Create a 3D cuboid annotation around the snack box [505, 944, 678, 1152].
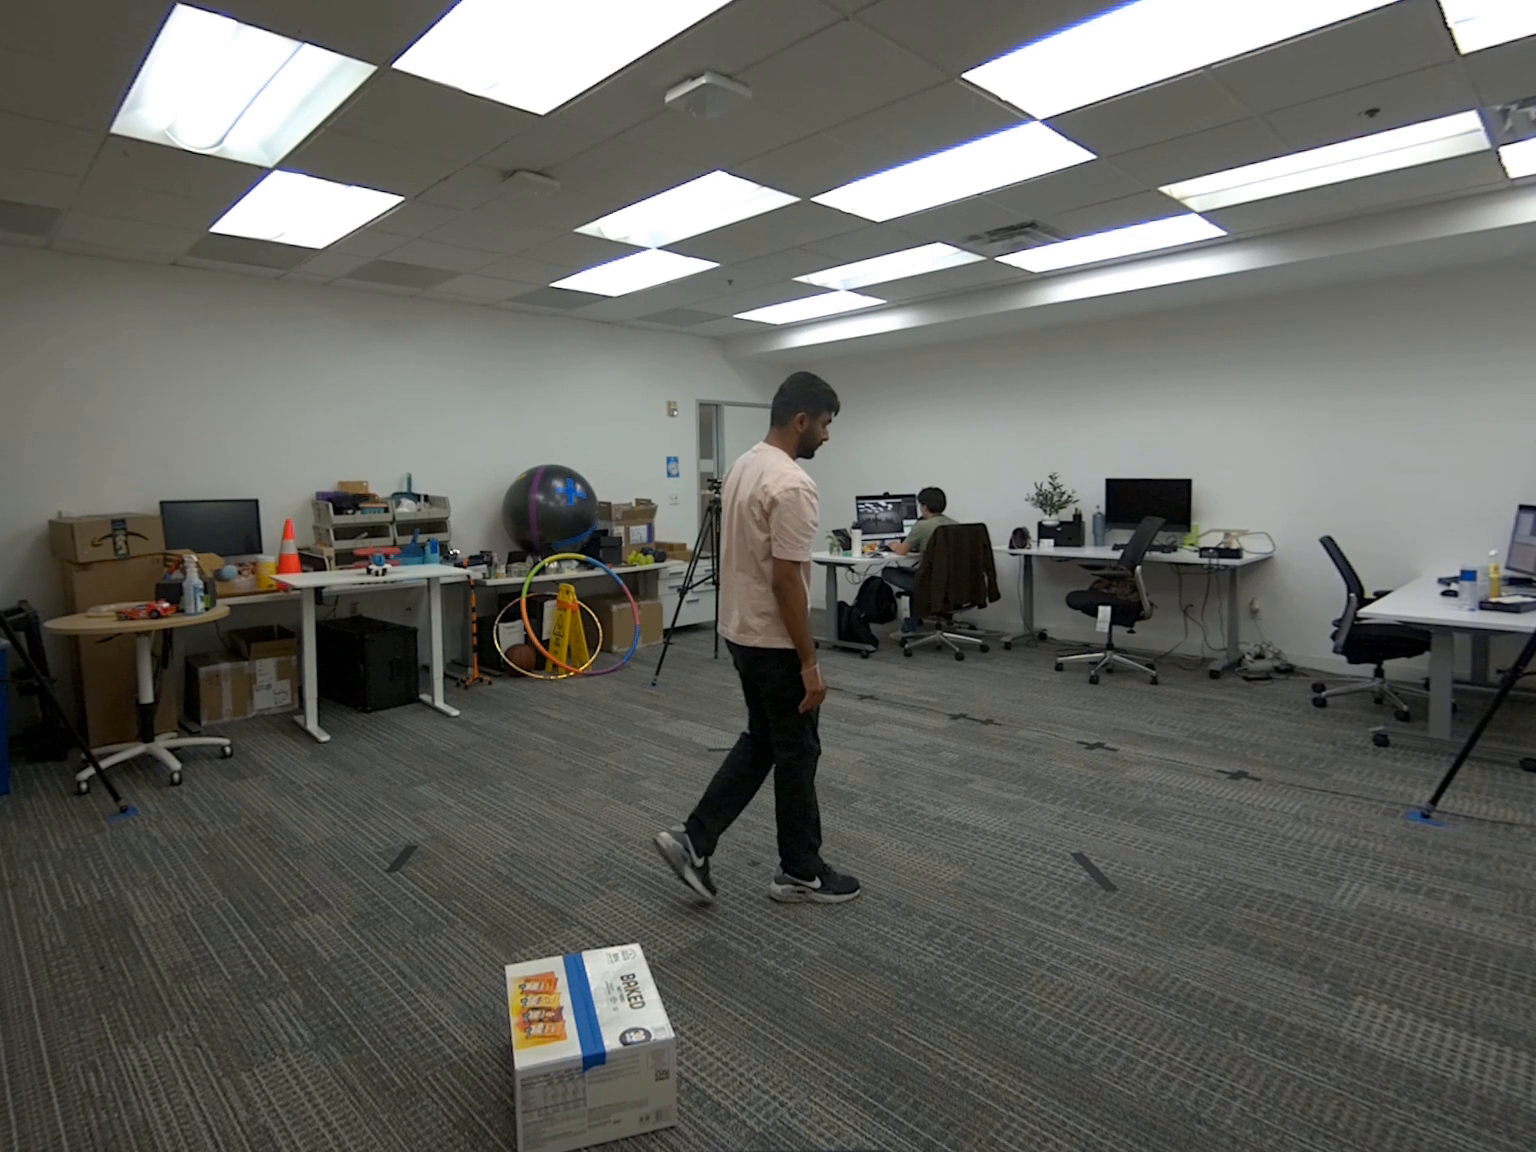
[{"bbox_3d":[-0.414,1.084,1.981,0.335,0.205,0.413,-3,6,-19],"label":"snack box"}]
